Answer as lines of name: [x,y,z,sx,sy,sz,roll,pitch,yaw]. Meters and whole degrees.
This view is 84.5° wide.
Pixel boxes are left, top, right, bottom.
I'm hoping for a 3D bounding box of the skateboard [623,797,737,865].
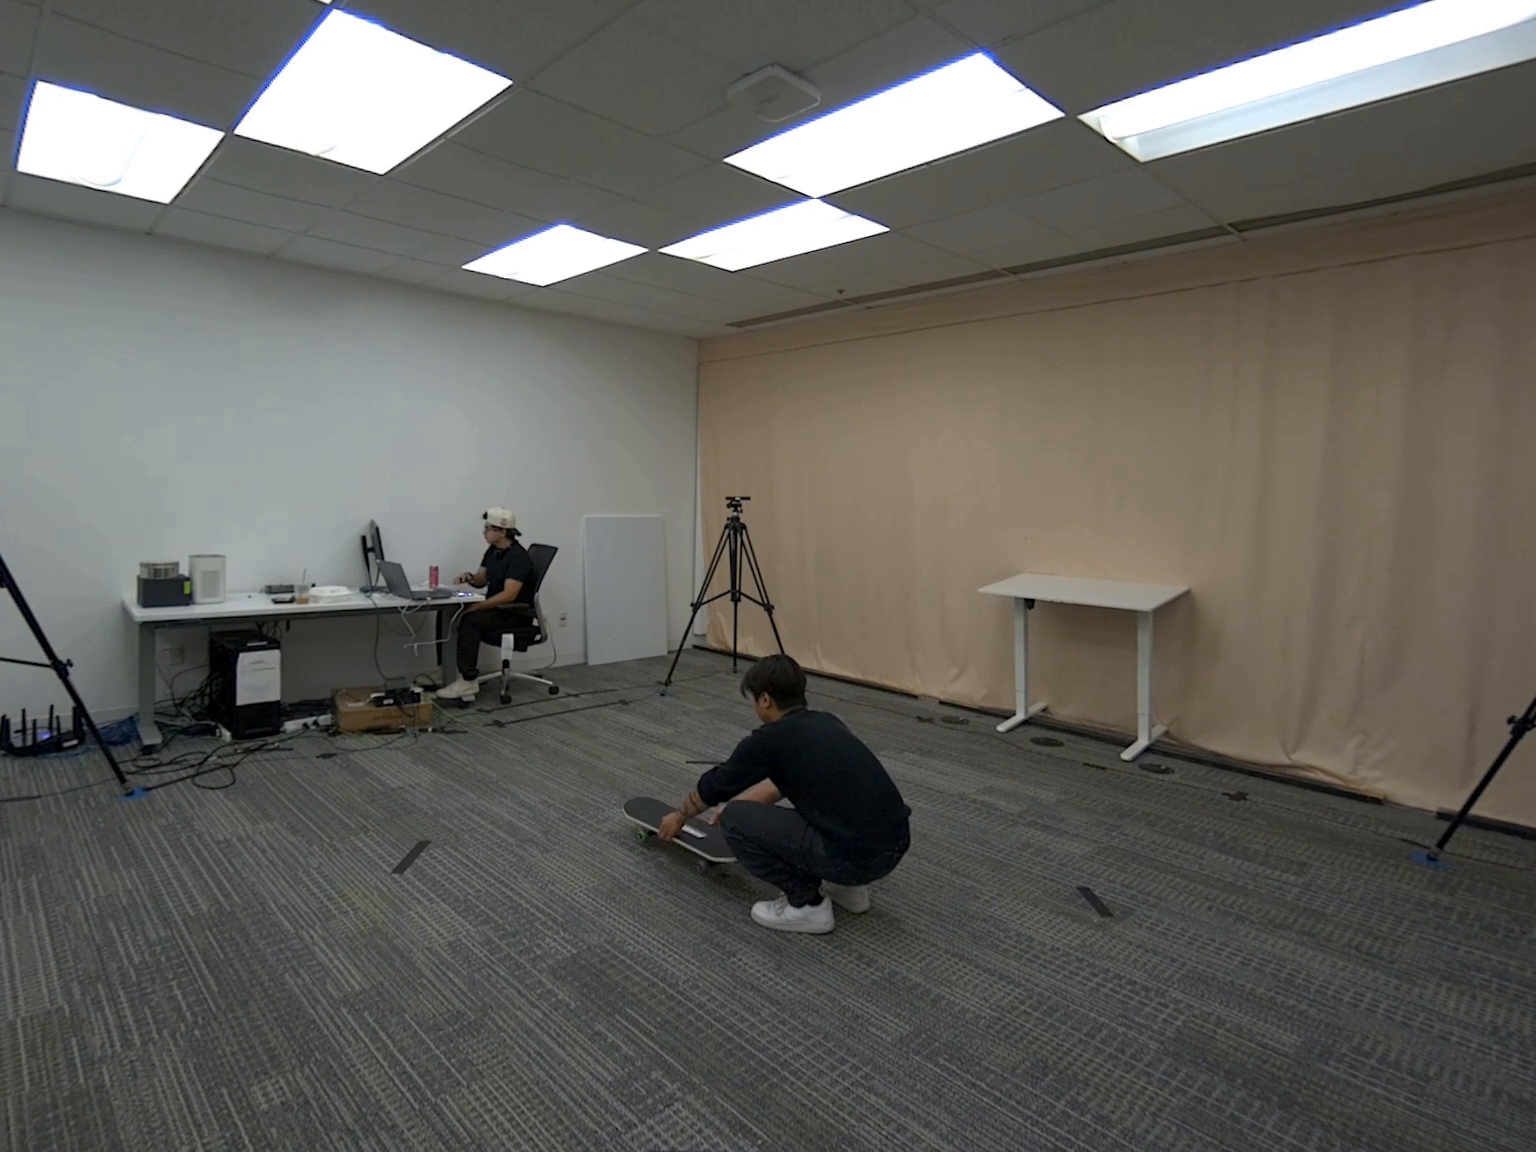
skateboard: [-0.313,1.004,3.226,0.189,0.110,0.805,-4,6,-40]
